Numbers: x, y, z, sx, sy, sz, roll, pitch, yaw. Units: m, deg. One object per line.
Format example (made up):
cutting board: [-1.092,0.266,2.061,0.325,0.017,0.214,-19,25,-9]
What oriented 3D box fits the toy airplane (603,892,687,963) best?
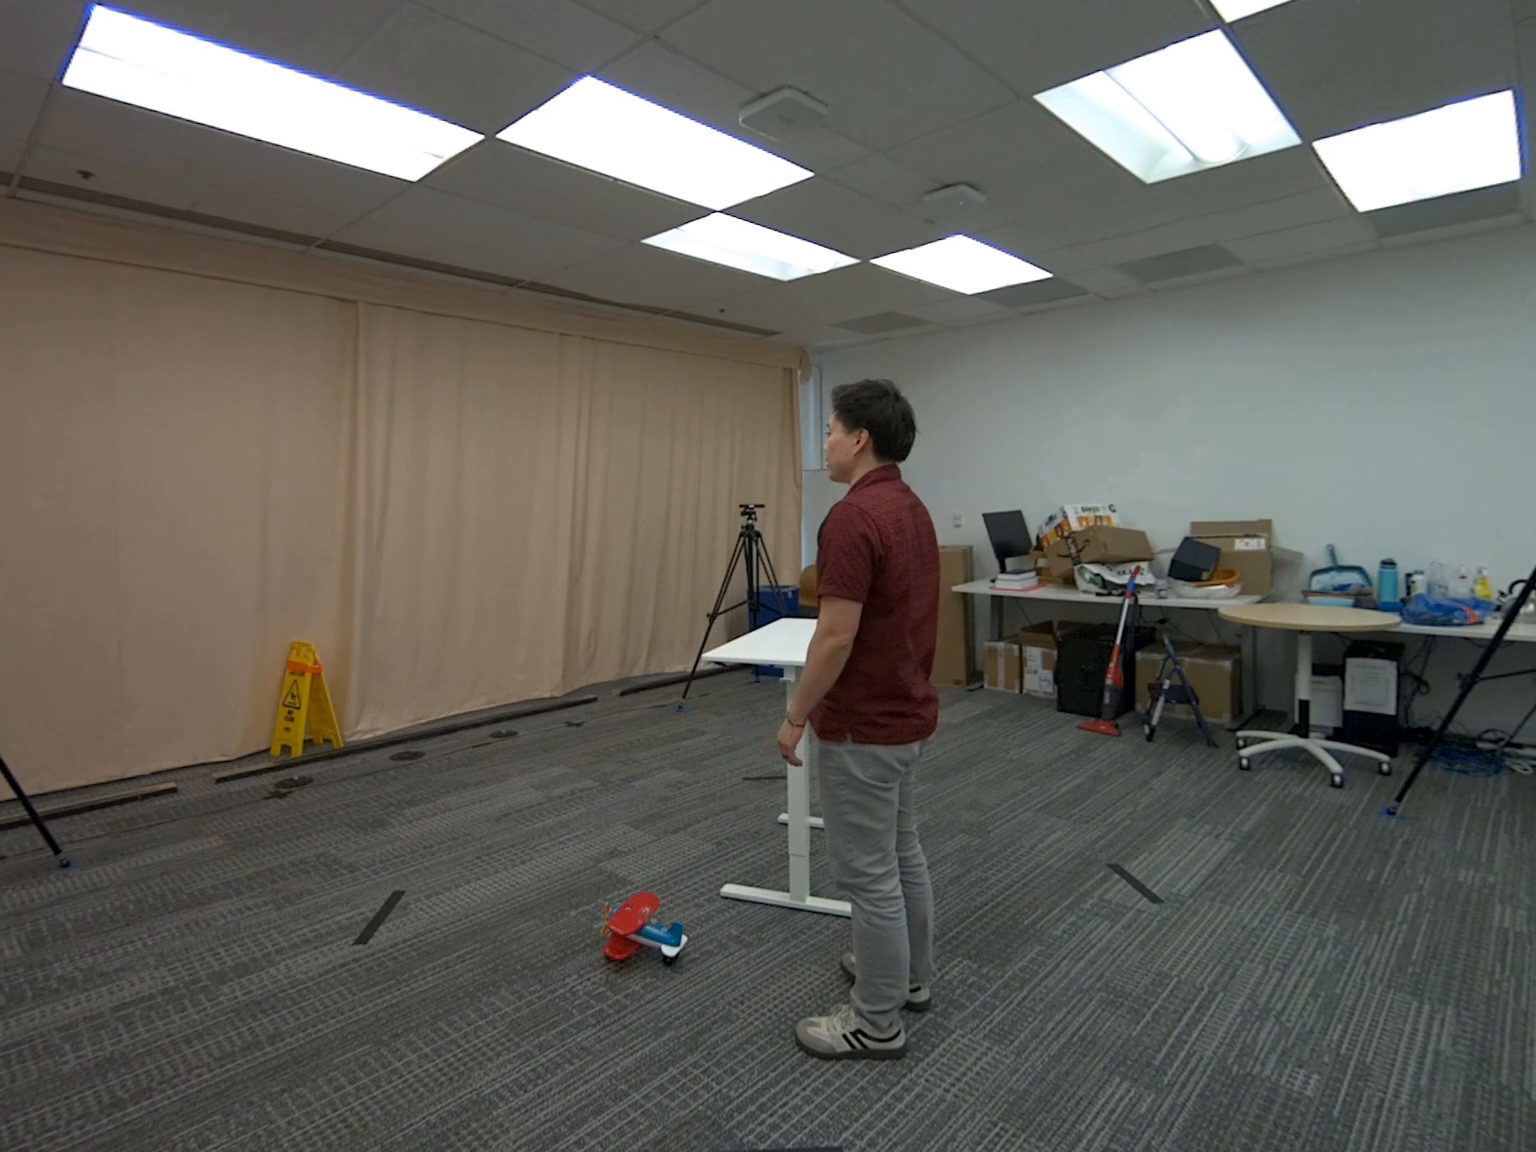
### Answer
toy airplane: [-0.376,1.109,2.623,0.256,0.156,0.254,-2,3,-10]
